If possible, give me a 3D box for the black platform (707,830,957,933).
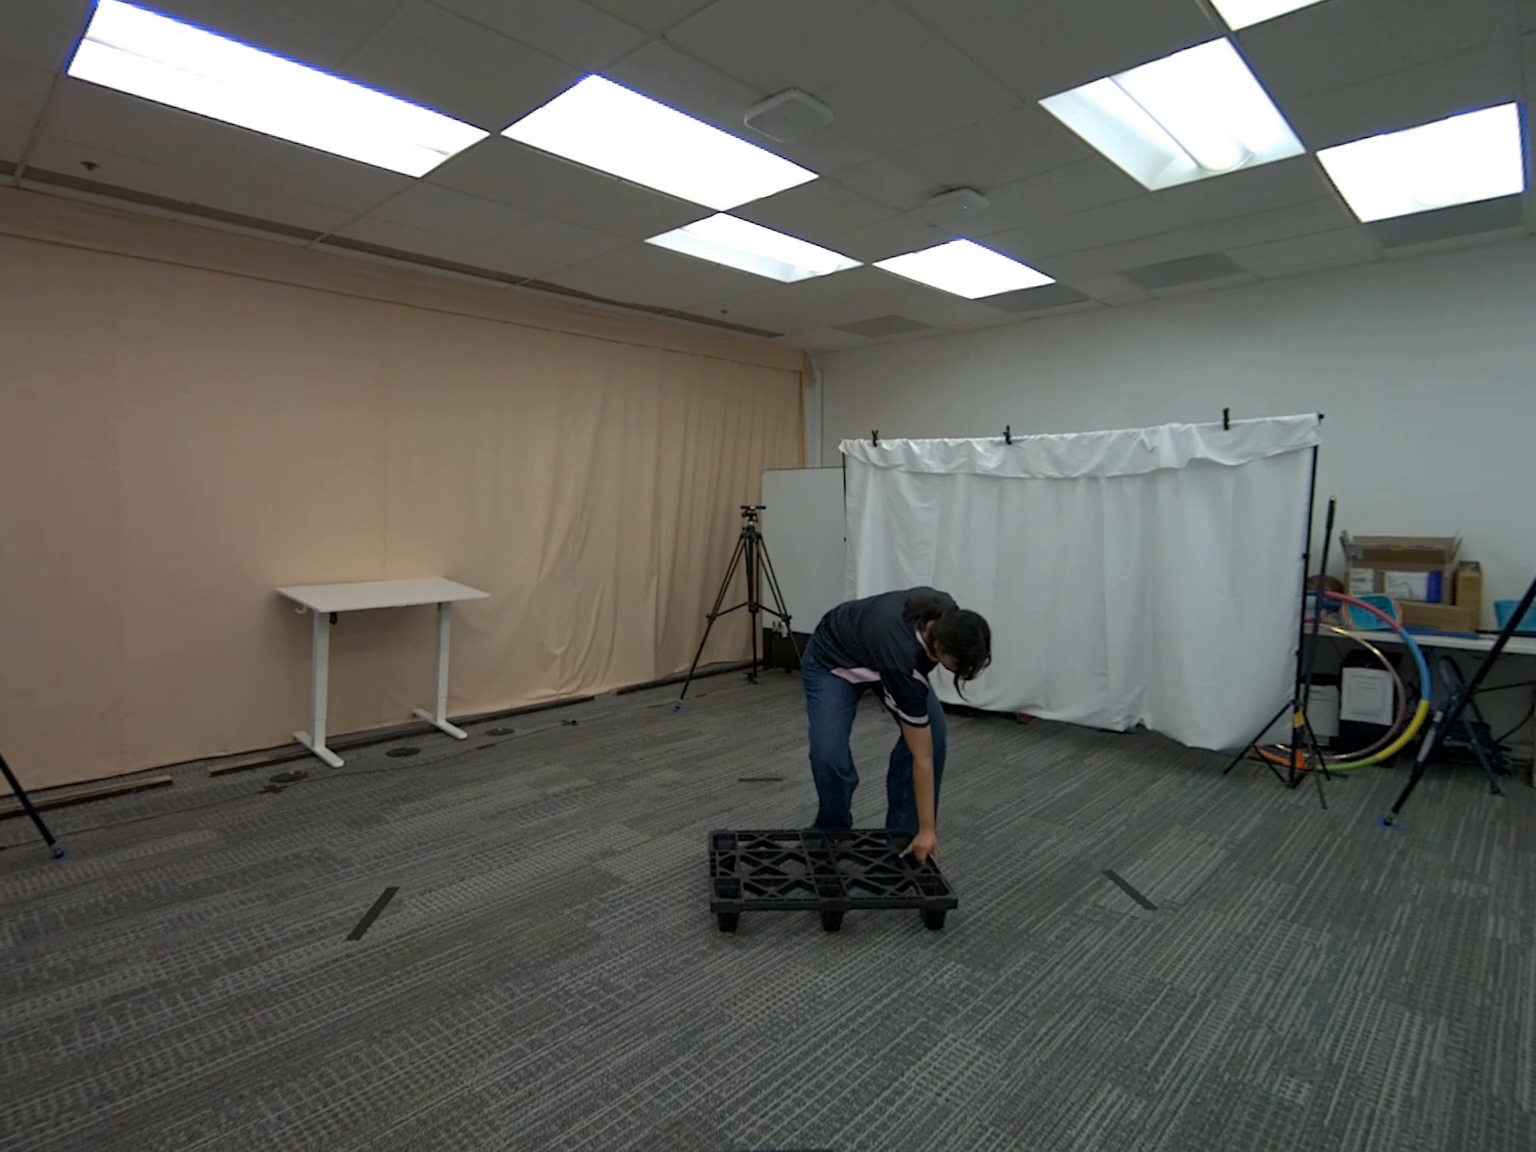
[{"bbox_3d":[0.187,1.074,2.981,0.805,0.143,0.607,0,4,-2],"label":"black platform"}]
